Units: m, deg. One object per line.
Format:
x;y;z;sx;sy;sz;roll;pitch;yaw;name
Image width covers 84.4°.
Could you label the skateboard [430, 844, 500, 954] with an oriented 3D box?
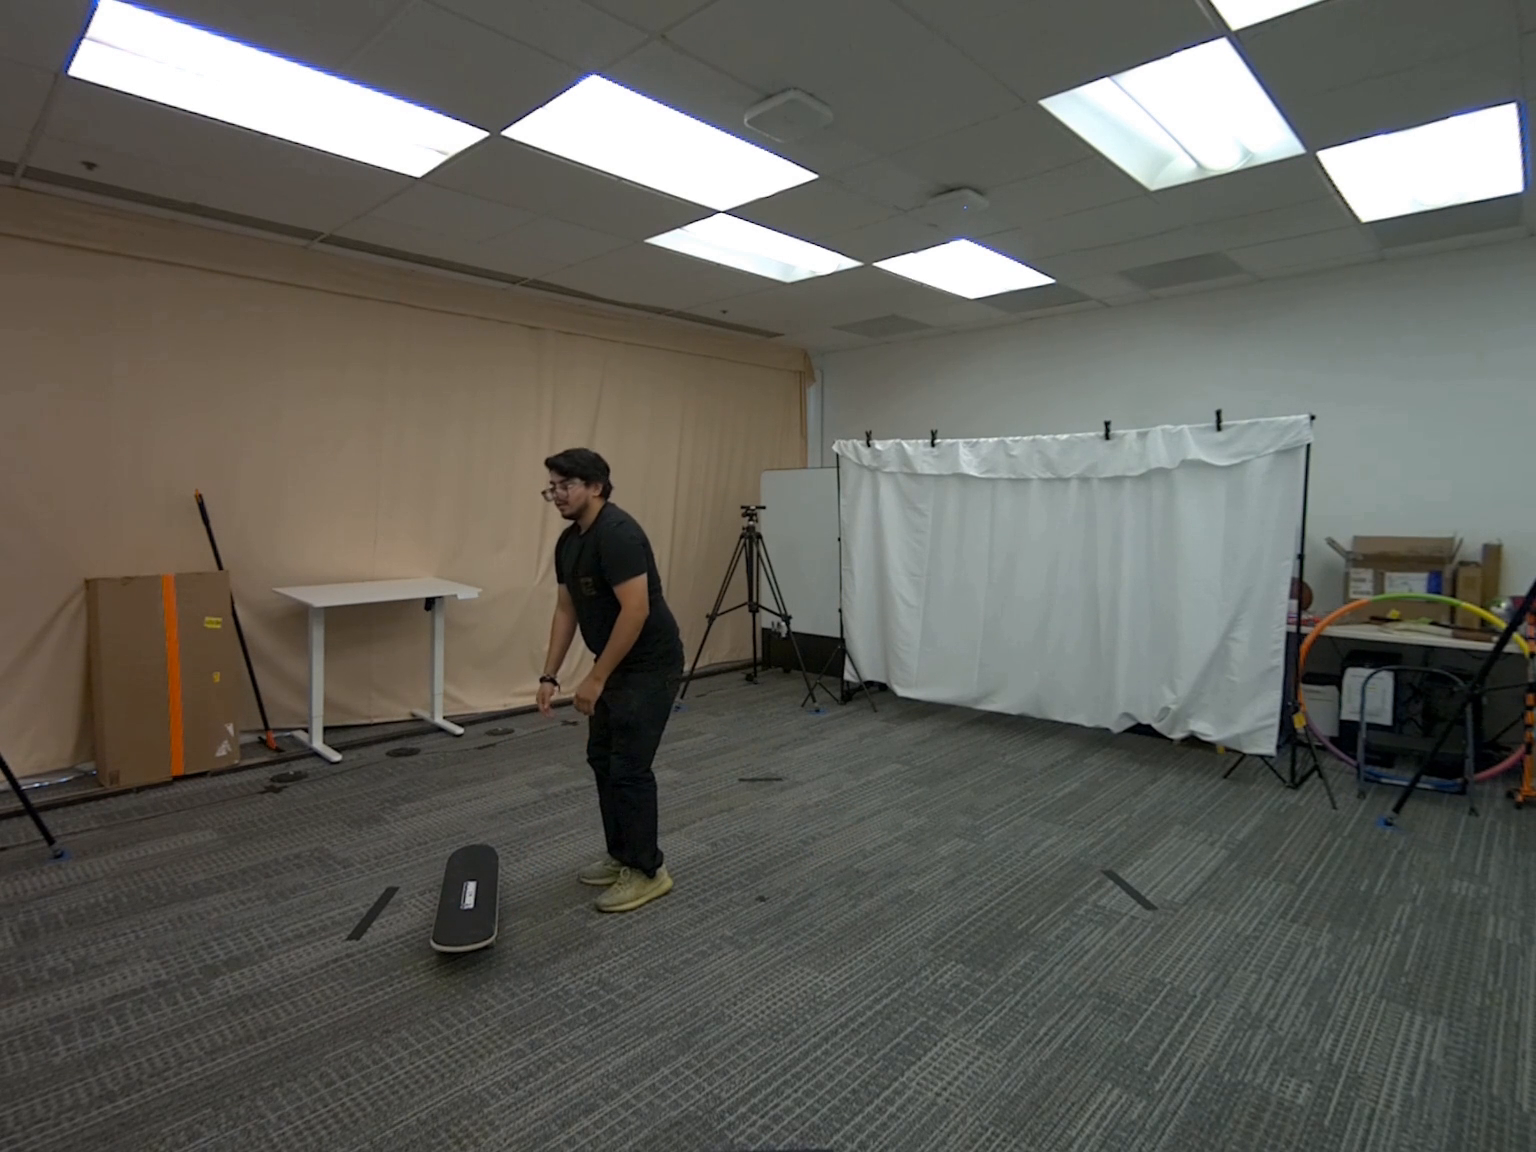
-1.008;1.108;2.834;0.190;0.110;0.800;-1;4;-17;skateboard
